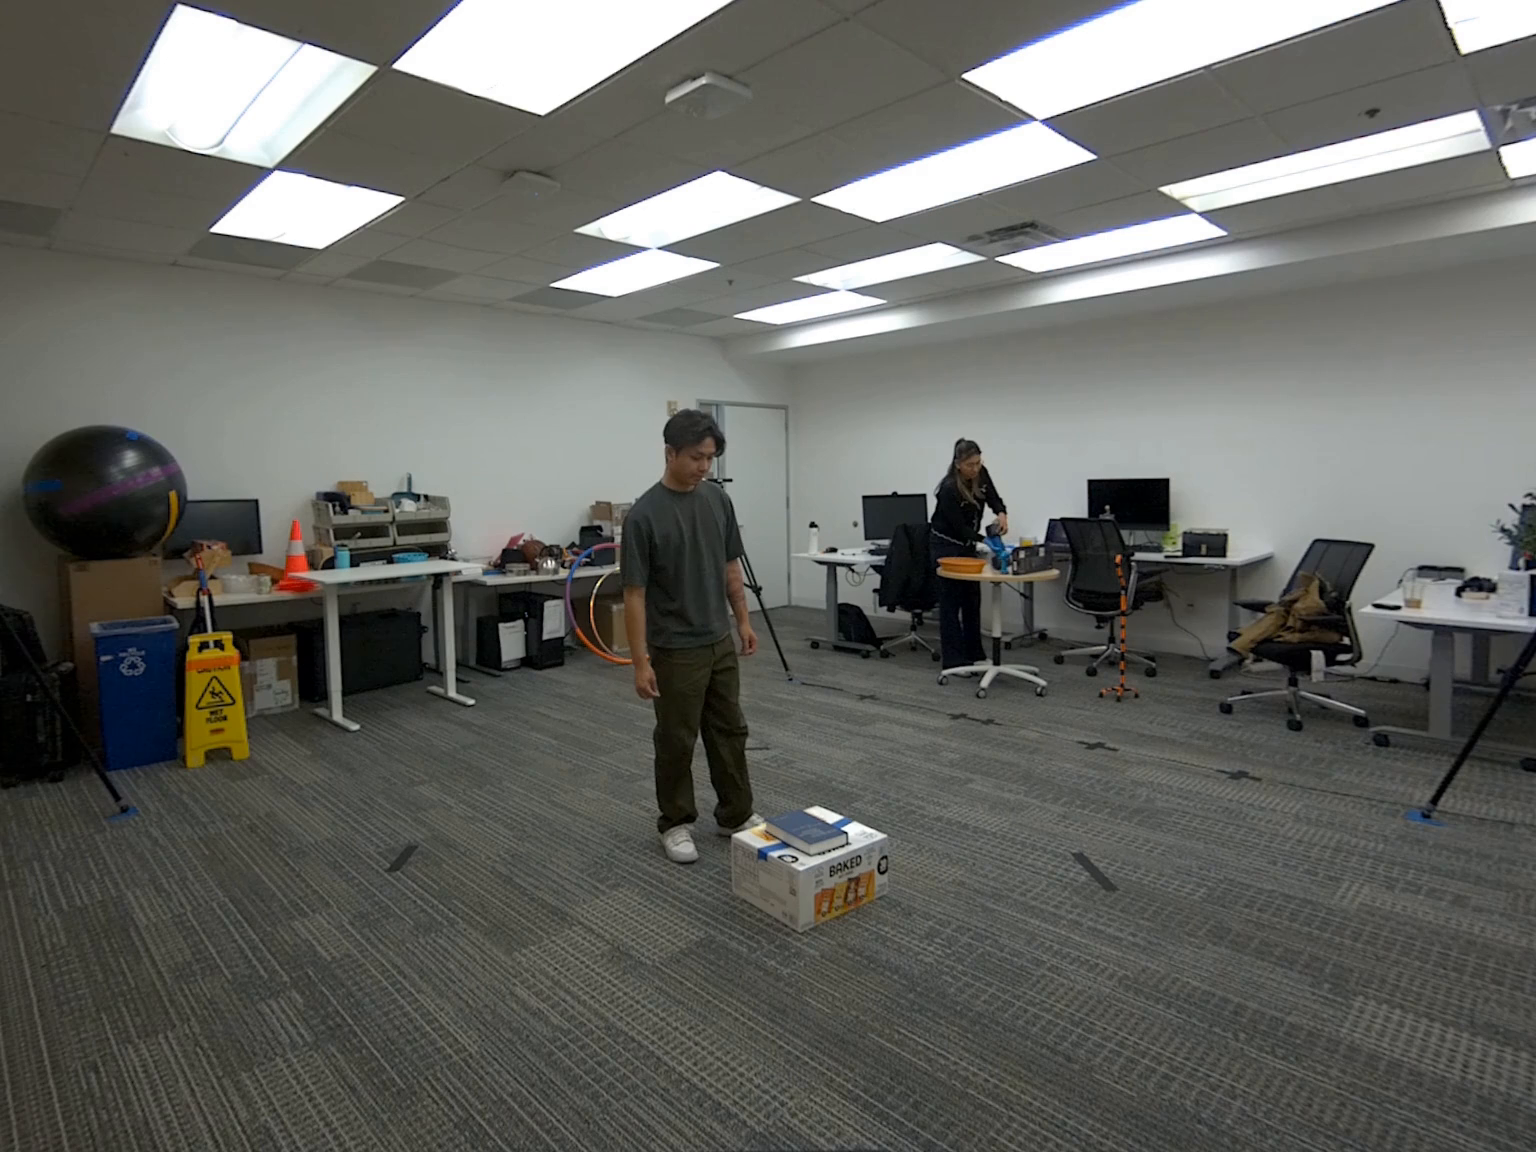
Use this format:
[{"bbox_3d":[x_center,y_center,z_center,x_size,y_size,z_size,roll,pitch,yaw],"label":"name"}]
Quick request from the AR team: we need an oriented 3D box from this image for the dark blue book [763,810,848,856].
[{"bbox_3d":[0.136,0.861,2.847,0.159,0.045,0.252,-6,8,-36],"label":"dark blue book"}]
